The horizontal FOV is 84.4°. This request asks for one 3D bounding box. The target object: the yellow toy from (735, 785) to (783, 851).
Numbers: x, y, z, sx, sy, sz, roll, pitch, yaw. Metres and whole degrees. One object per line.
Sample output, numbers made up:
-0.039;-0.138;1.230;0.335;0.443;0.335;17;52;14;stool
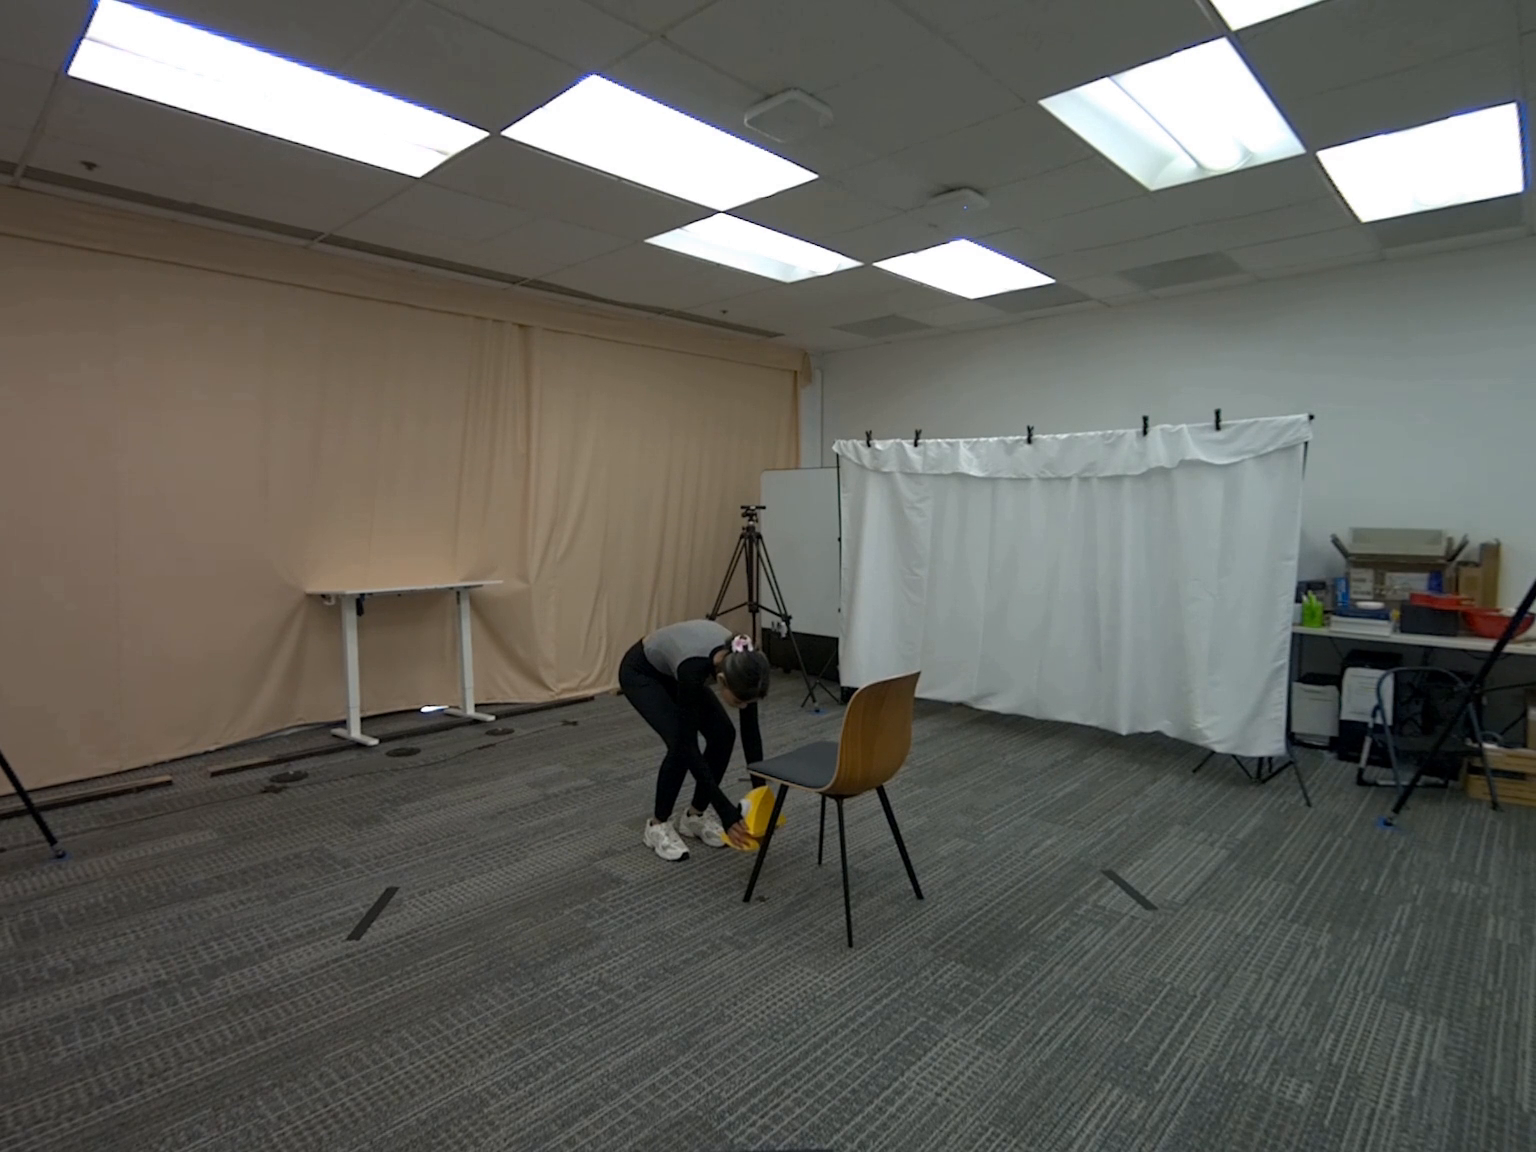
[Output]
-0.056;0.880;3.157;0.200;0.230;0.198;11;7;38;yellow toy
